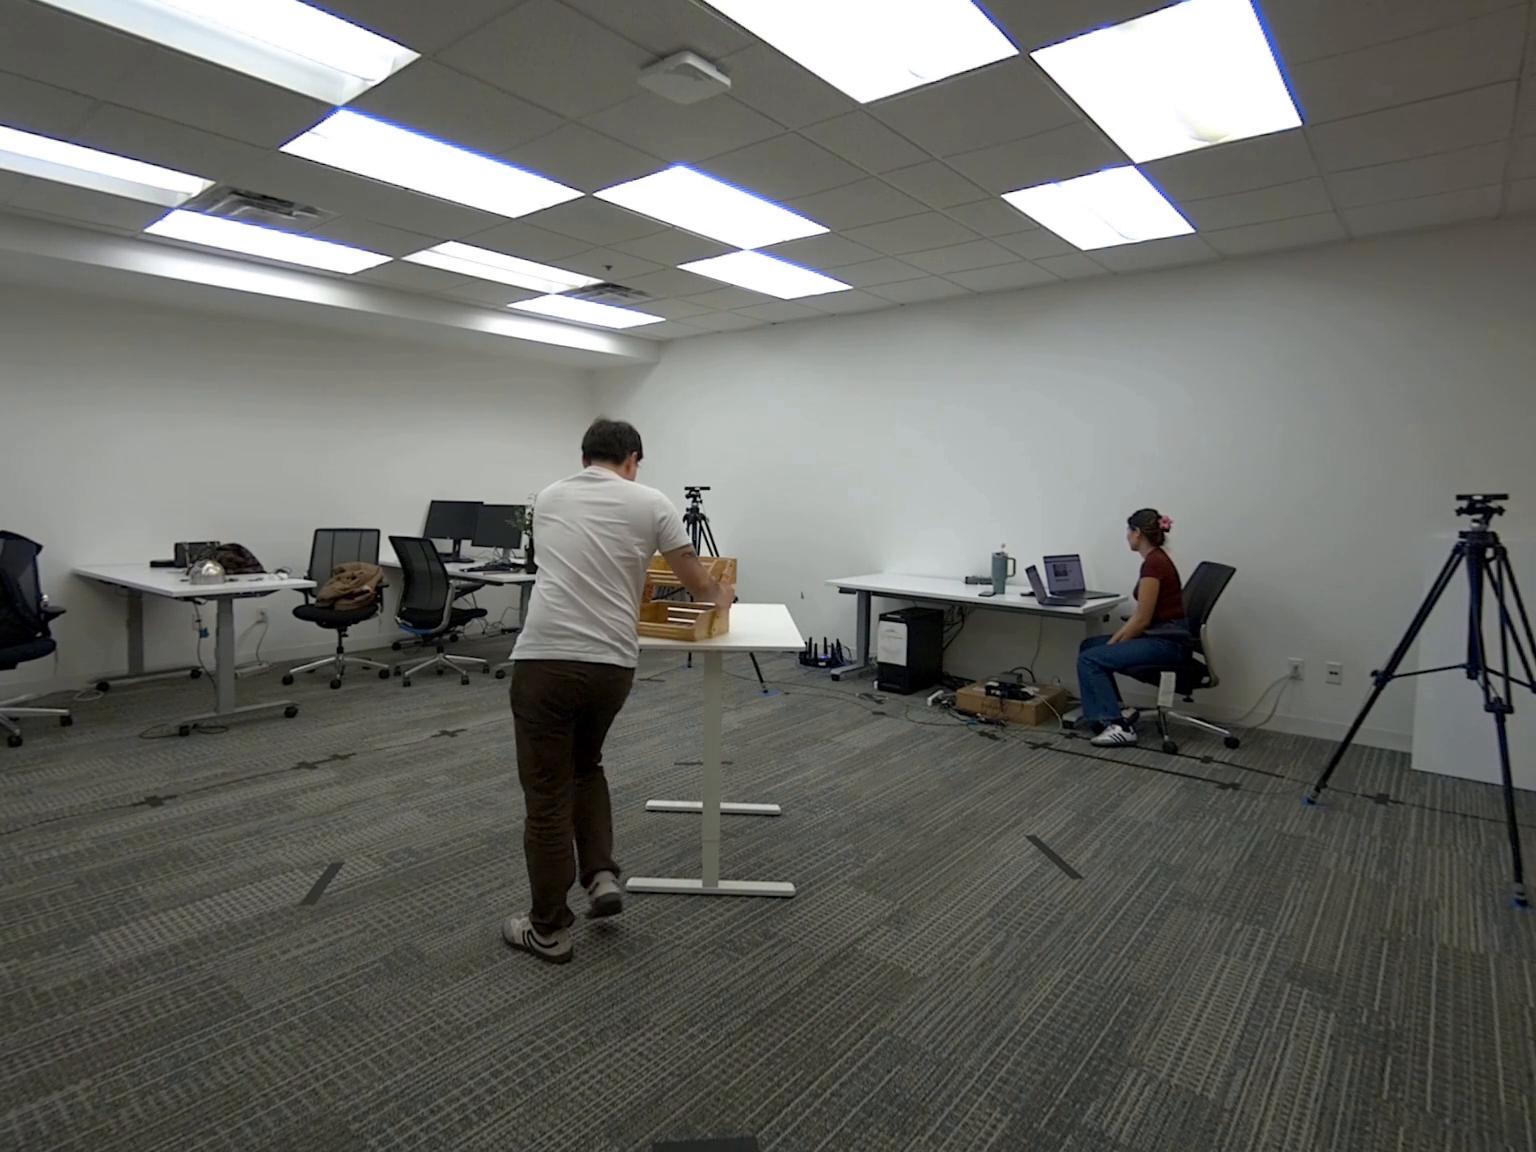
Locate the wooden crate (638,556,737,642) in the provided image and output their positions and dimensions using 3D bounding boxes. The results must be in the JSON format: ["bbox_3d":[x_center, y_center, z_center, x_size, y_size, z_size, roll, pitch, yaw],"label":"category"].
[{"bbox_3d":[-0.320,0.065,2.986,0.333,0.272,0.295,3,4,27],"label":"wooden crate"}]
